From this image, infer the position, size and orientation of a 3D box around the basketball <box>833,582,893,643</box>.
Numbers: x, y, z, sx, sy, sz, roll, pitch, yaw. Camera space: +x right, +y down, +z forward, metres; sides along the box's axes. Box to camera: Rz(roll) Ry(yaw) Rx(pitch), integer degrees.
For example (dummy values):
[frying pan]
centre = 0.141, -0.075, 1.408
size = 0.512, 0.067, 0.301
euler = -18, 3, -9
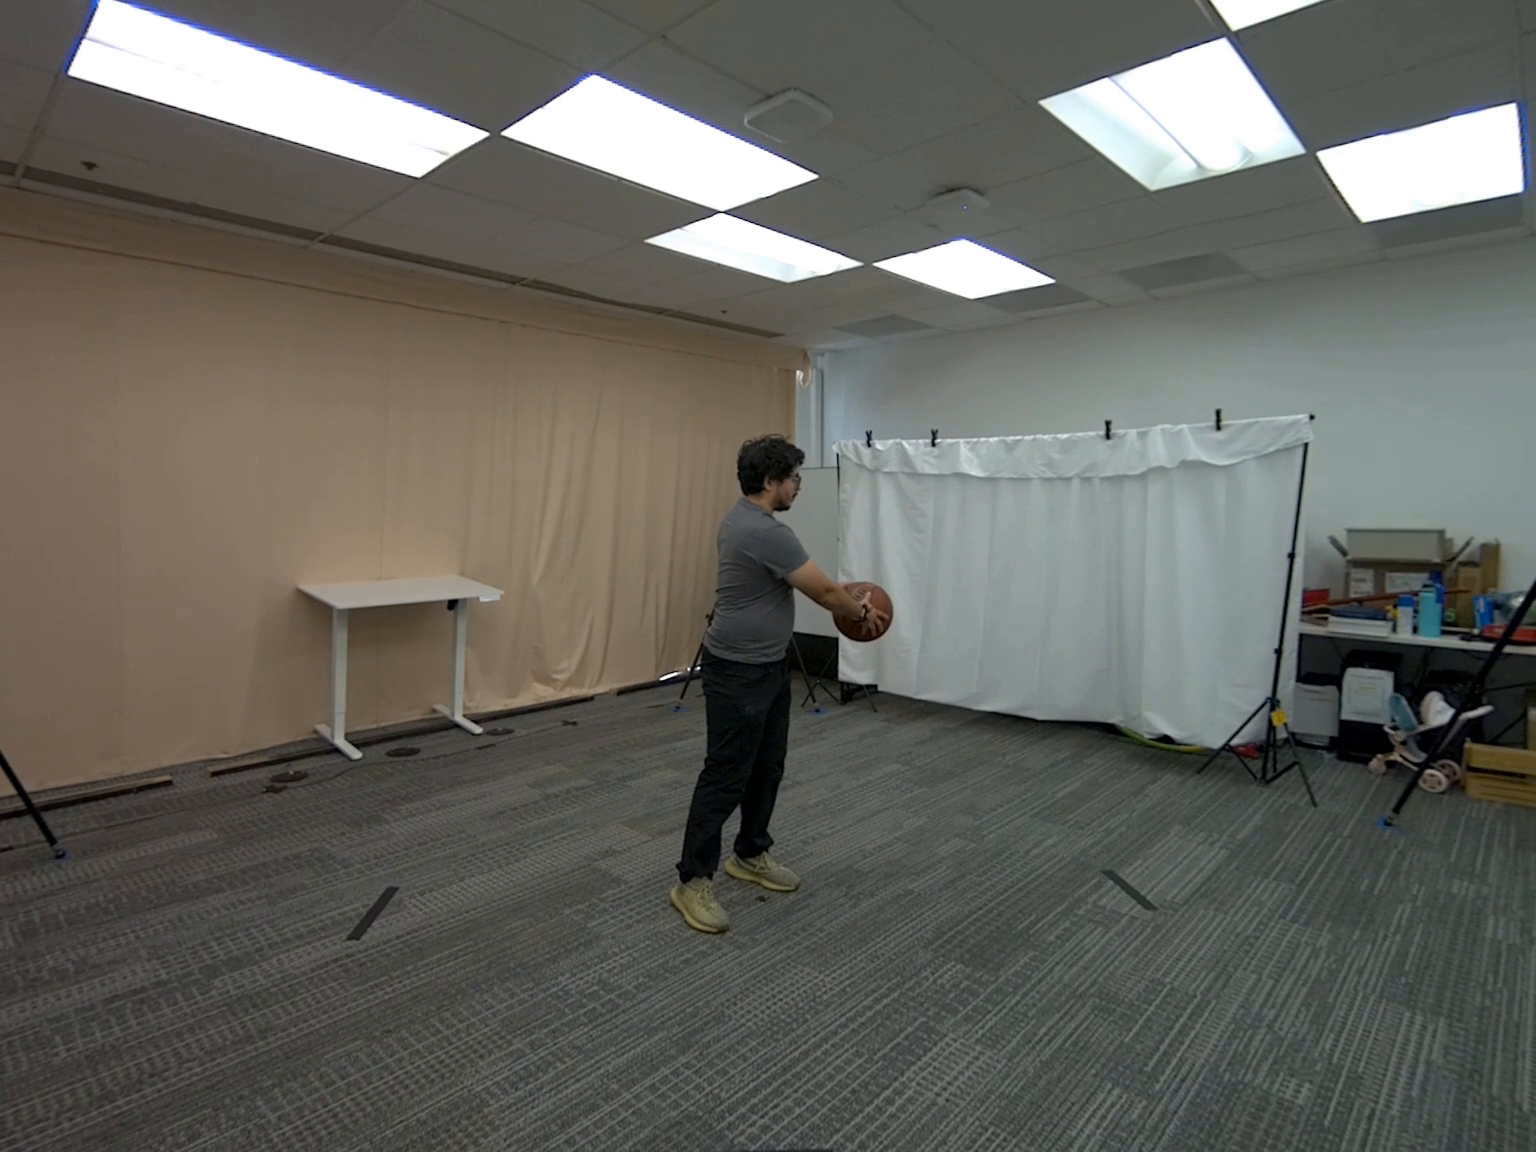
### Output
[basketball]
centre = 0.381, 0.136, 3.320
size = 0.236, 0.235, 0.237
euler = 0, 4, -2
